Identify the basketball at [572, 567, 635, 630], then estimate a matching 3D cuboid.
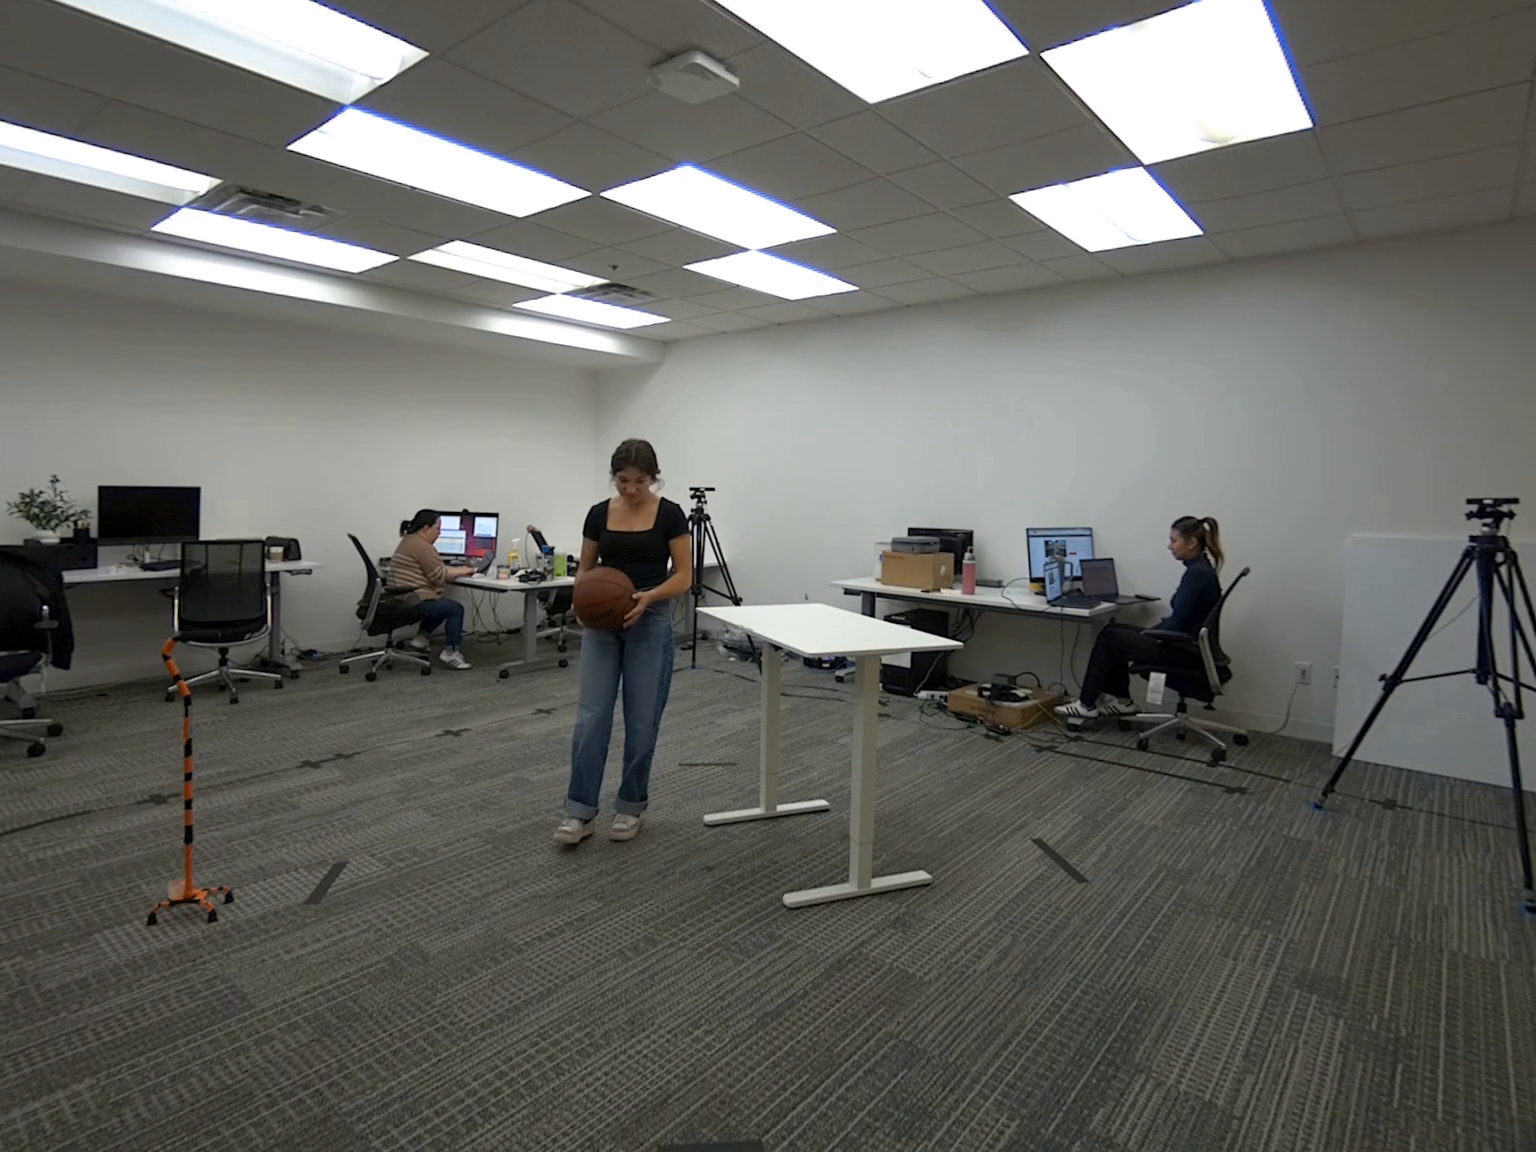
[{"bbox_3d":[-0.631,0.080,3.196,0.235,0.235,0.237,1,4,-2],"label":"basketball"}]
